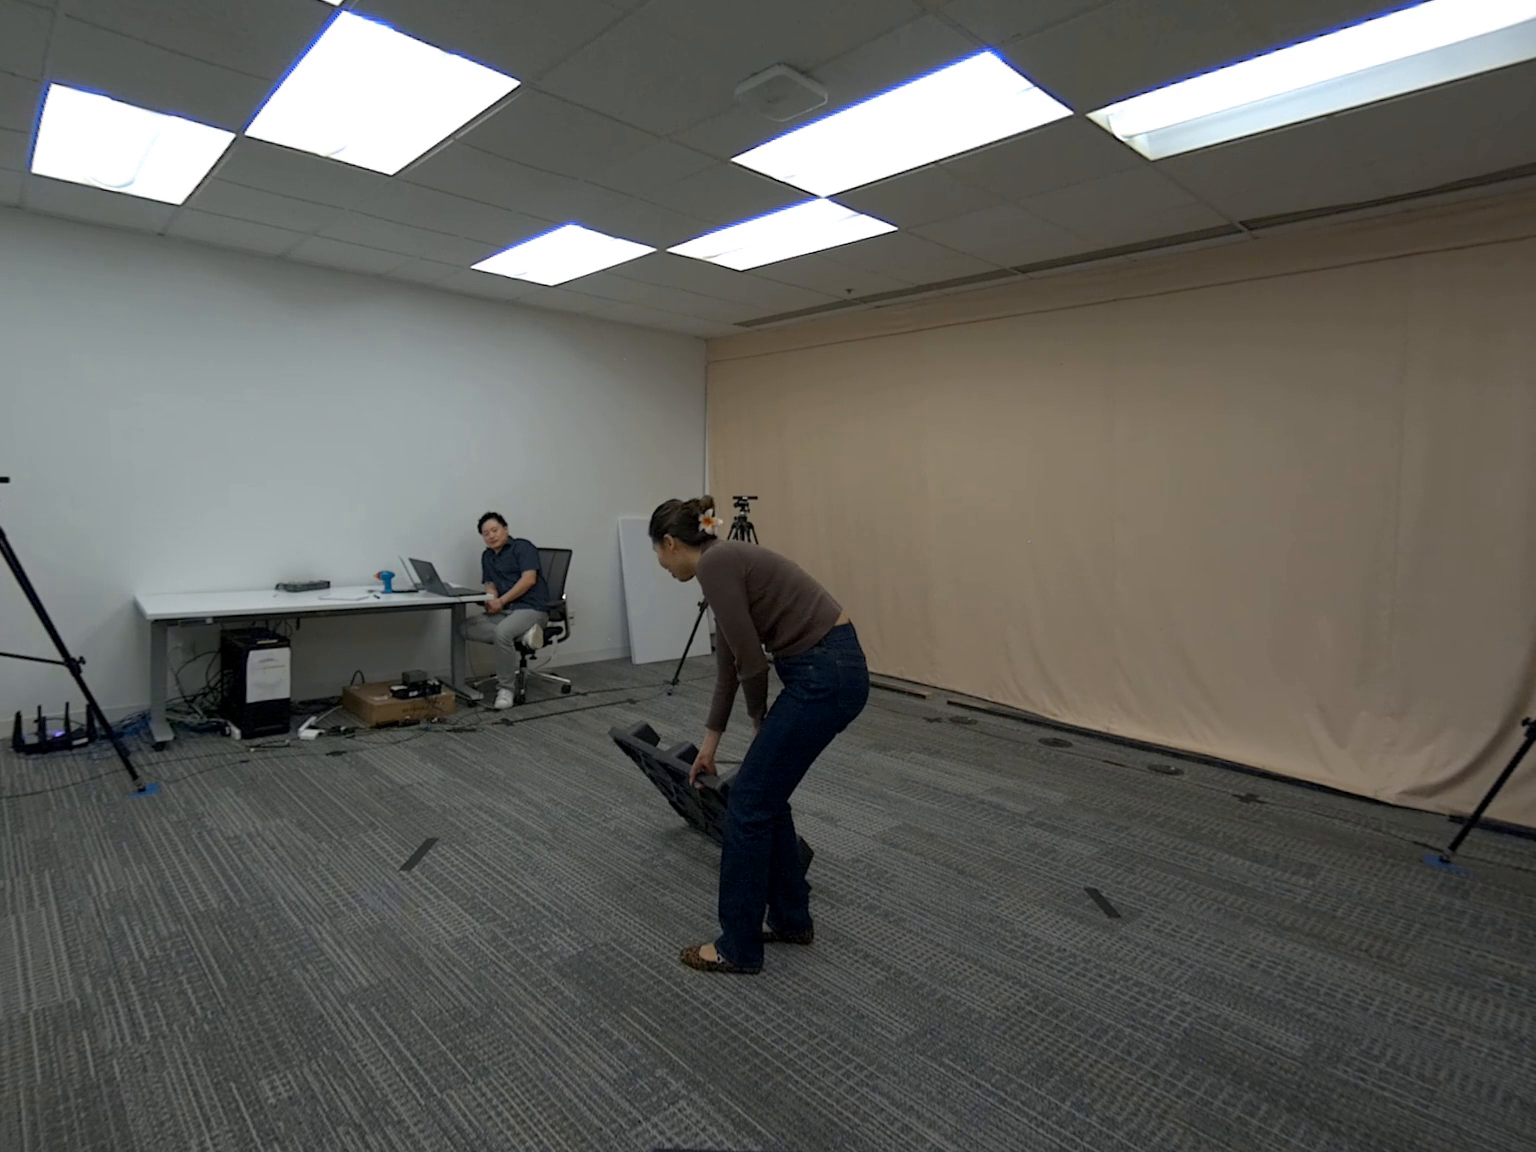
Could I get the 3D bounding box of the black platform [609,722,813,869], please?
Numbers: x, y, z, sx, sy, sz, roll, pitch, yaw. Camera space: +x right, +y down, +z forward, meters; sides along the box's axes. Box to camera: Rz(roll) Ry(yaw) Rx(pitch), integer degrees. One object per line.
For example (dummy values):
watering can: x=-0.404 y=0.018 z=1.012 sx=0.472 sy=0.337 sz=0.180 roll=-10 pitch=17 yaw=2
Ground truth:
black platform: x=-0.222 y=0.834 z=3.162 sx=0.143 sy=0.591 sz=0.825 roll=-46 pitch=28 yaw=-22
